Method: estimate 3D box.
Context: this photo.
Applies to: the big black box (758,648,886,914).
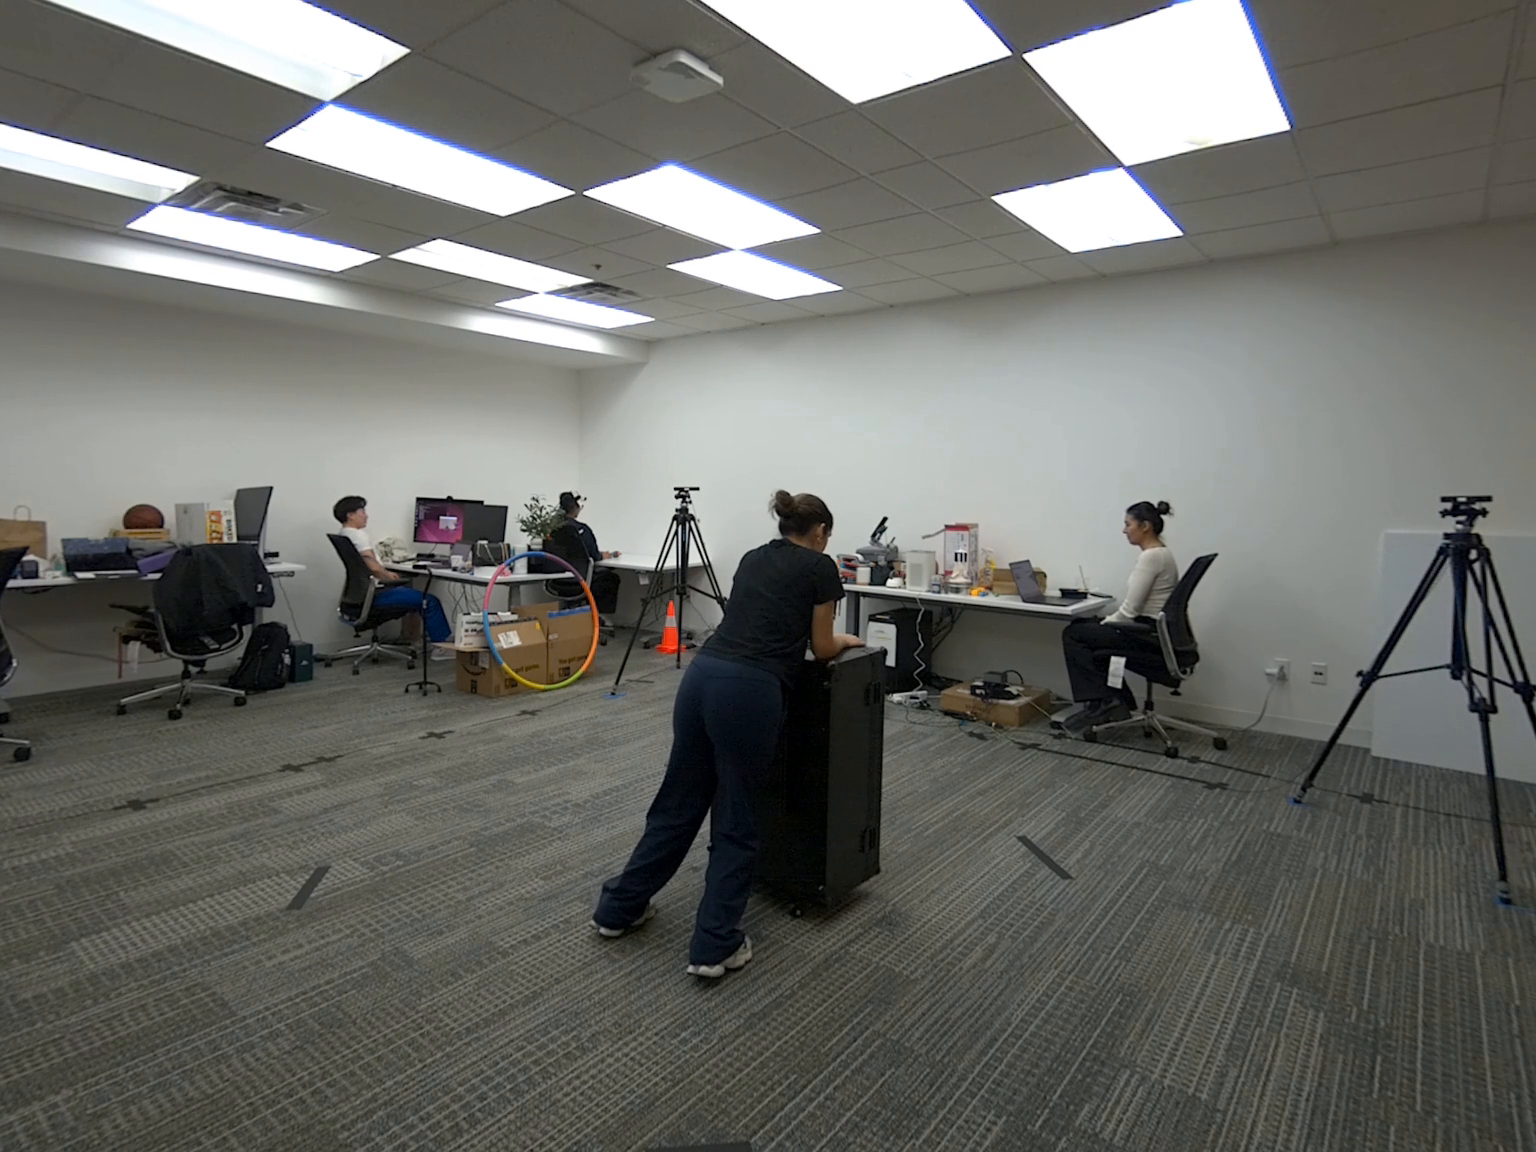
[{"bbox_3d":[0.105,0.610,2.946,0.539,0.859,0.384,4,4,39],"label":"big black box"}]
